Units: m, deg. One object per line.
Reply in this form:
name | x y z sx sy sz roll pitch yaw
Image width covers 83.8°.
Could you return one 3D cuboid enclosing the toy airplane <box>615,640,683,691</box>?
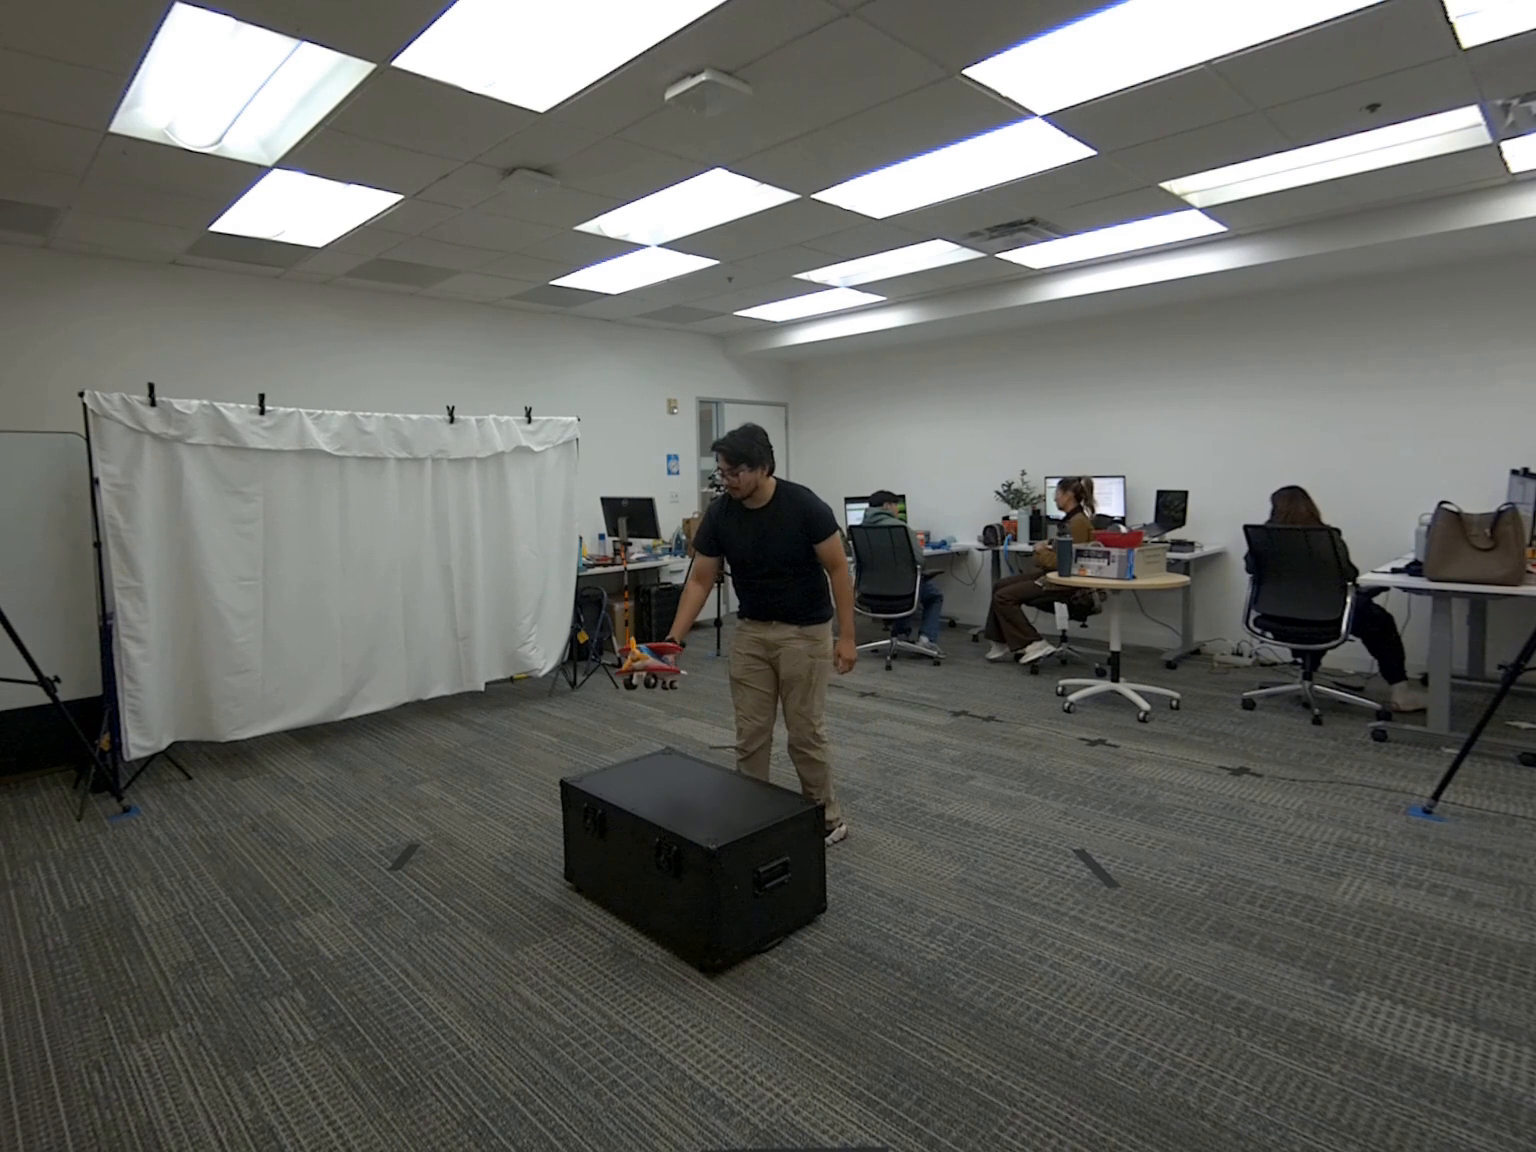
toy airplane | -0.411 0.323 3.003 0.252 0.158 0.256 -3 -8 2
